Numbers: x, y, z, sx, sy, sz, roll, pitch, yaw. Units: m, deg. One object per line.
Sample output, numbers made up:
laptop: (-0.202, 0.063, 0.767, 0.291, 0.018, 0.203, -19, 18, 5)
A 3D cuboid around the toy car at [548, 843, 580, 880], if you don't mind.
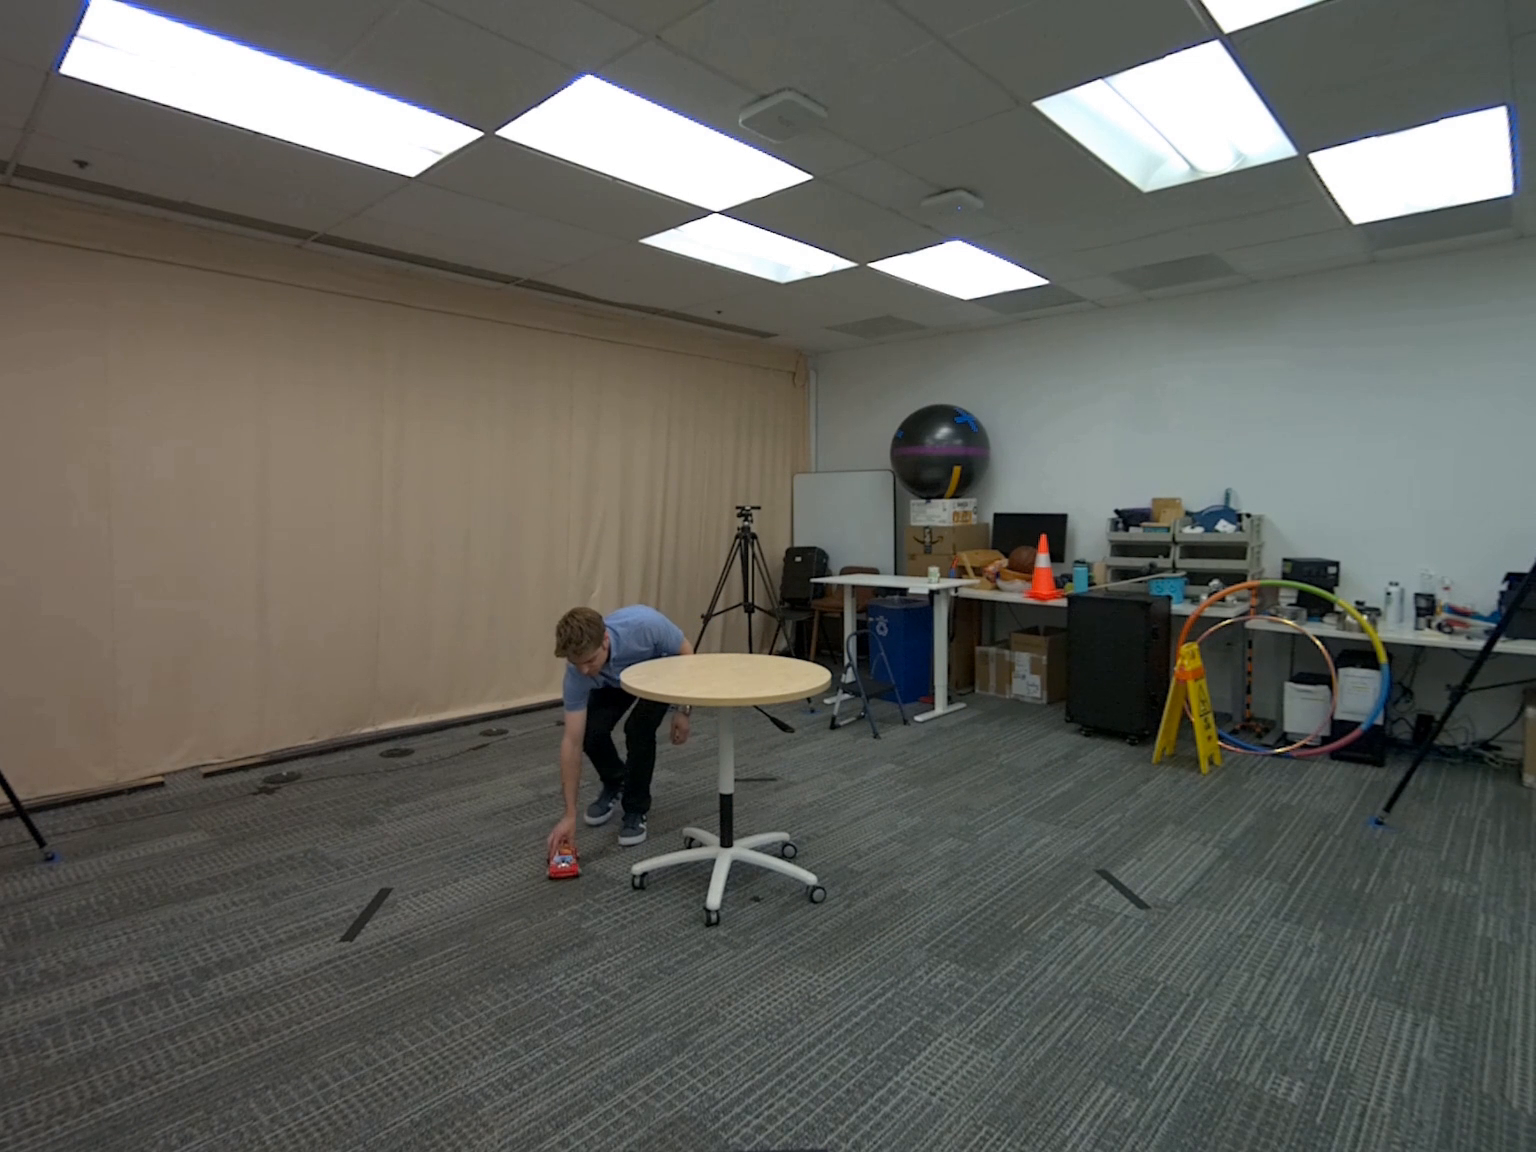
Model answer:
toy car: (-0.797, 1.098, 3.260, 0.129, 0.082, 0.260, -2, 16, -13)
